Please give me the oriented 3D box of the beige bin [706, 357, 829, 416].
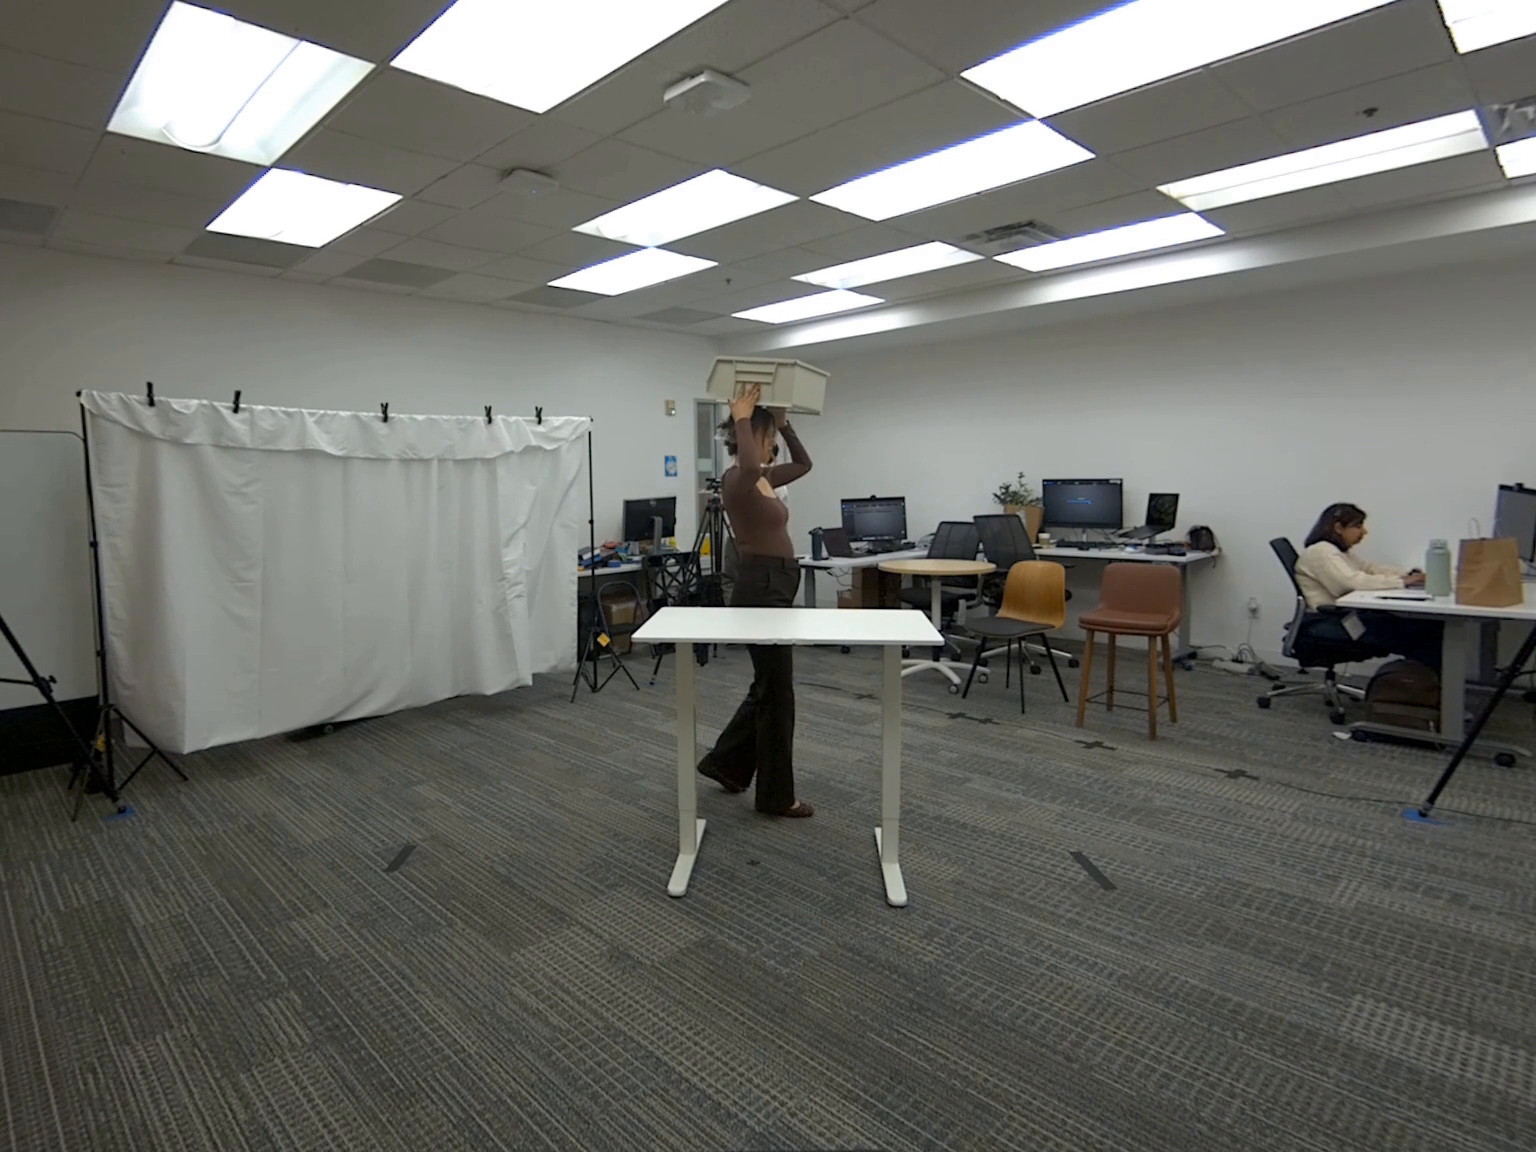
[{"bbox_3d":[0.002,-0.777,3.513,0.386,0.188,0.415,8,8,21],"label":"beige bin"}]
